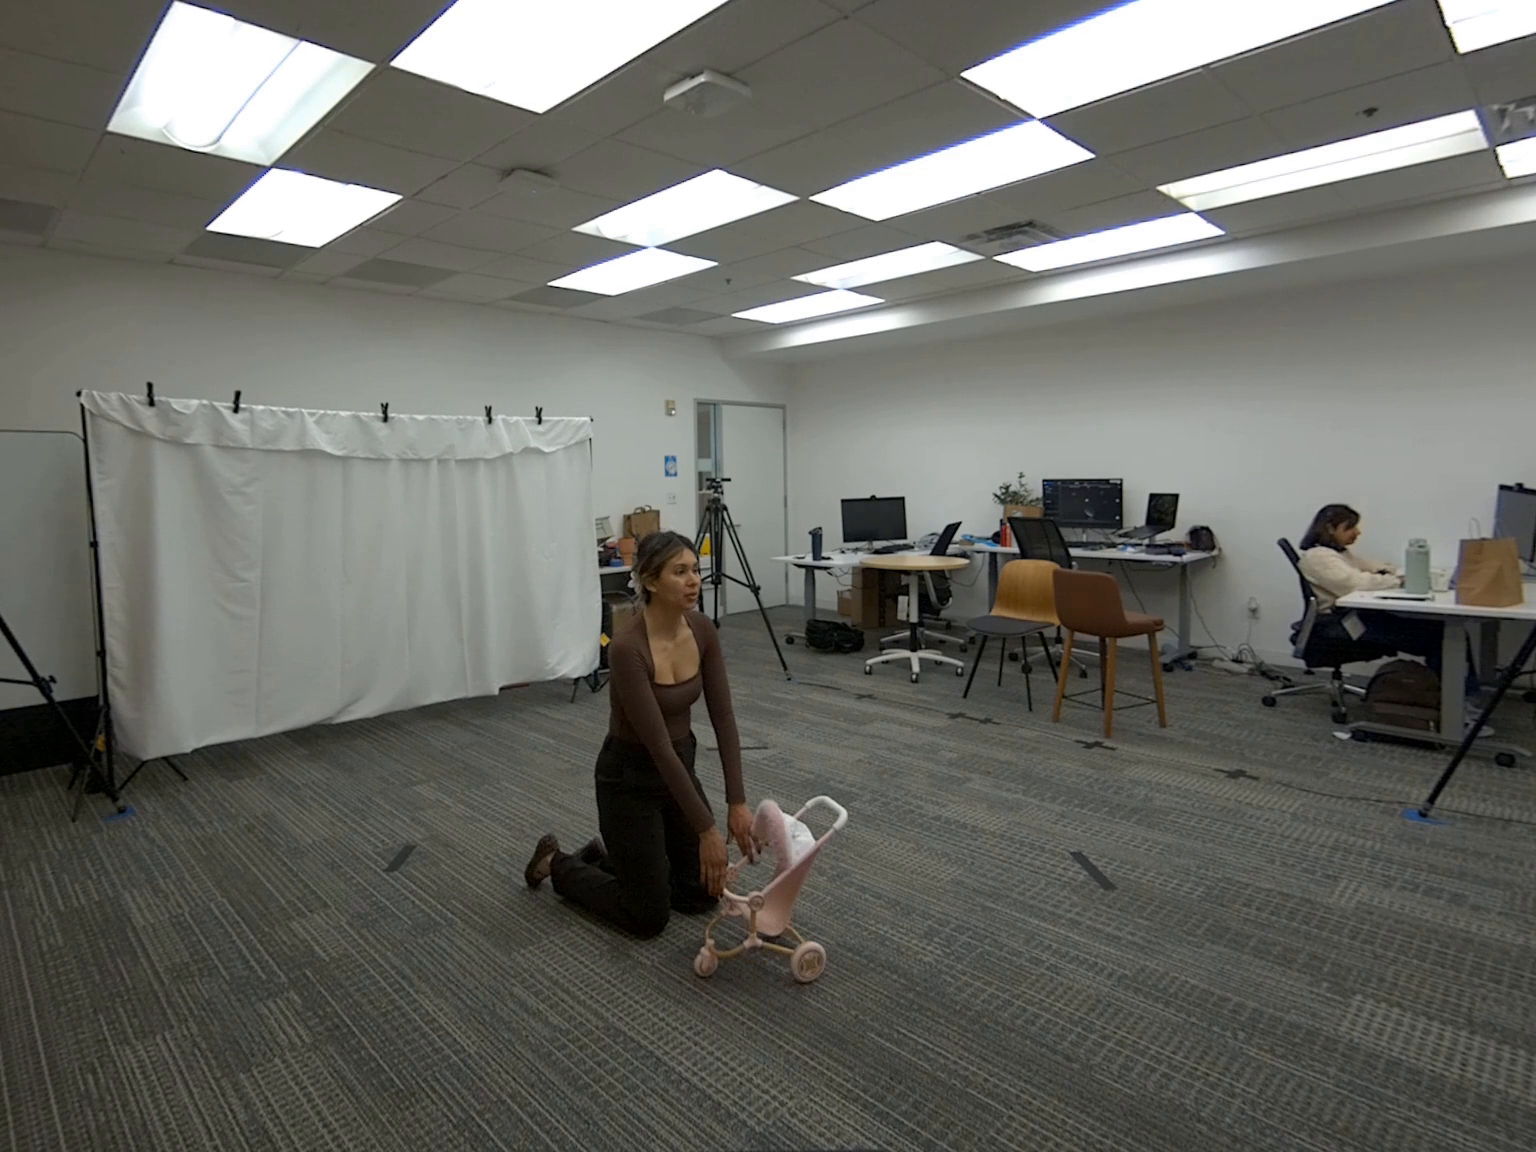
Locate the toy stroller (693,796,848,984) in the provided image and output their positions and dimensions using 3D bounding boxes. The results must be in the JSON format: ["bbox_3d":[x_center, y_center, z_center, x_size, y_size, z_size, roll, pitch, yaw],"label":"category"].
[{"bbox_3d":[0.002,0.889,2.459,0.335,0.535,0.286,14,-1,-16],"label":"toy stroller"}]
